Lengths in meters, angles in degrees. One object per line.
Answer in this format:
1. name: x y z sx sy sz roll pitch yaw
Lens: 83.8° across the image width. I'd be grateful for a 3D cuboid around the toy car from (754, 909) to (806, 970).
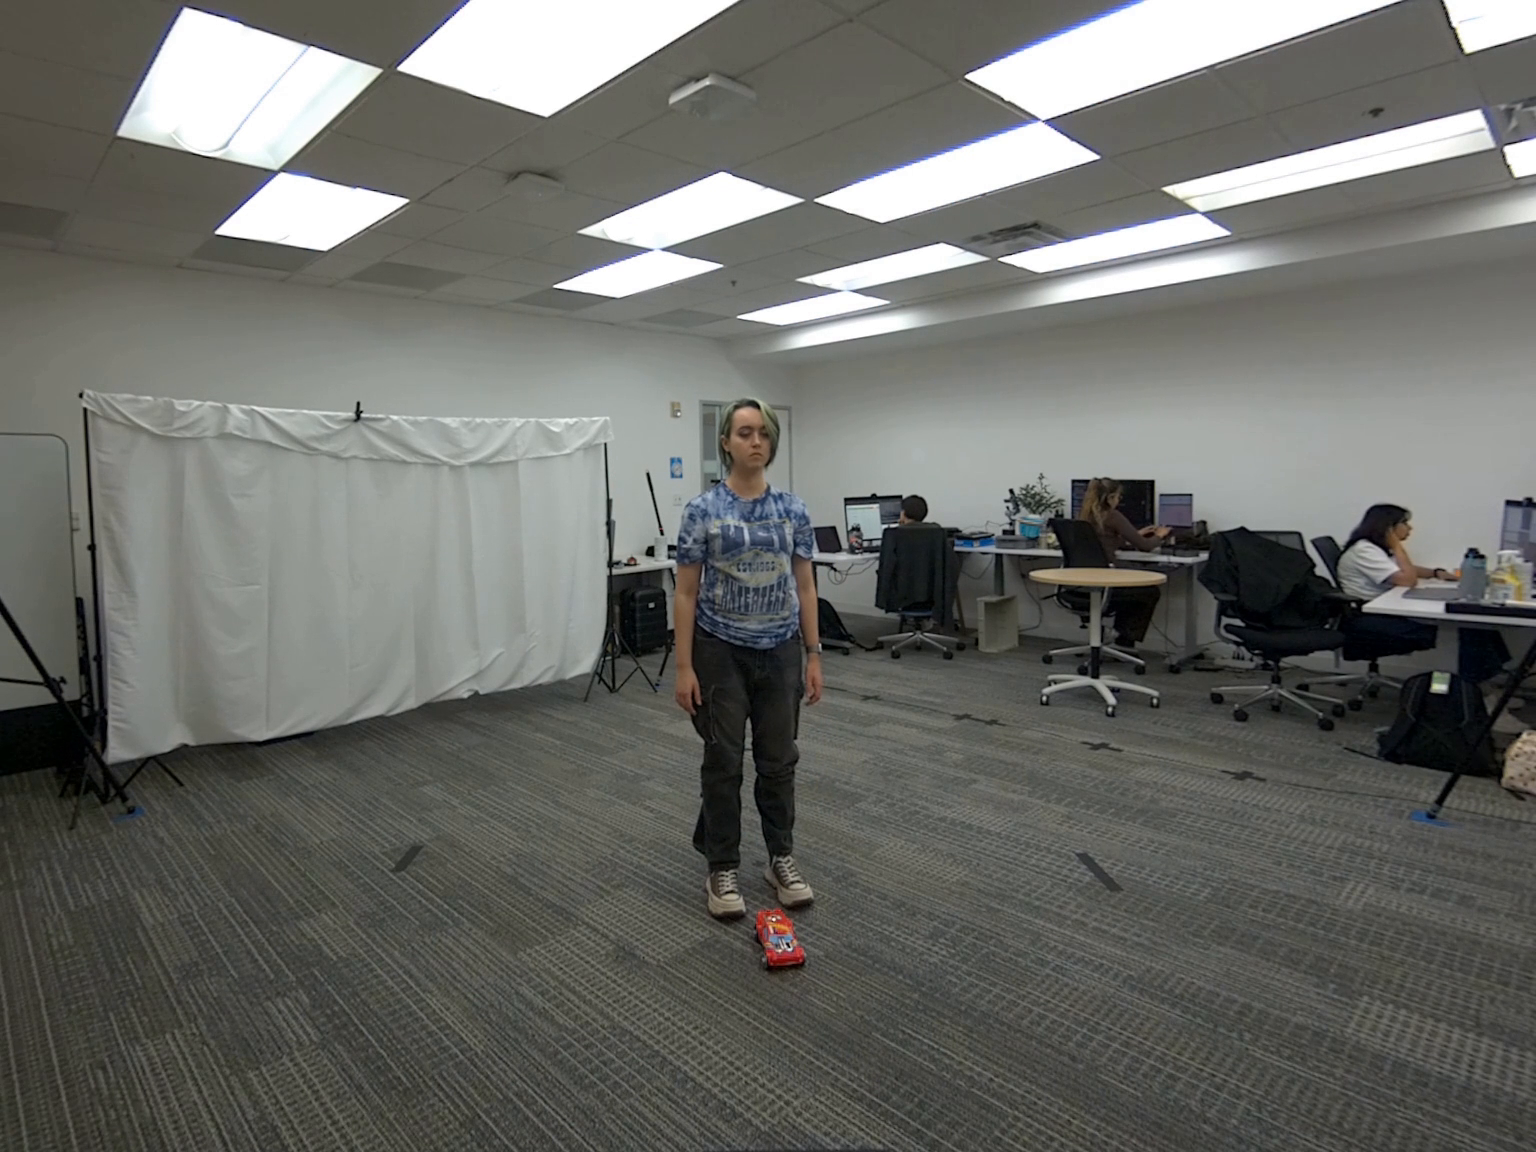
1. toy car: 0.029 1.082 2.538 0.129 0.082 0.260 -4 16 -9
